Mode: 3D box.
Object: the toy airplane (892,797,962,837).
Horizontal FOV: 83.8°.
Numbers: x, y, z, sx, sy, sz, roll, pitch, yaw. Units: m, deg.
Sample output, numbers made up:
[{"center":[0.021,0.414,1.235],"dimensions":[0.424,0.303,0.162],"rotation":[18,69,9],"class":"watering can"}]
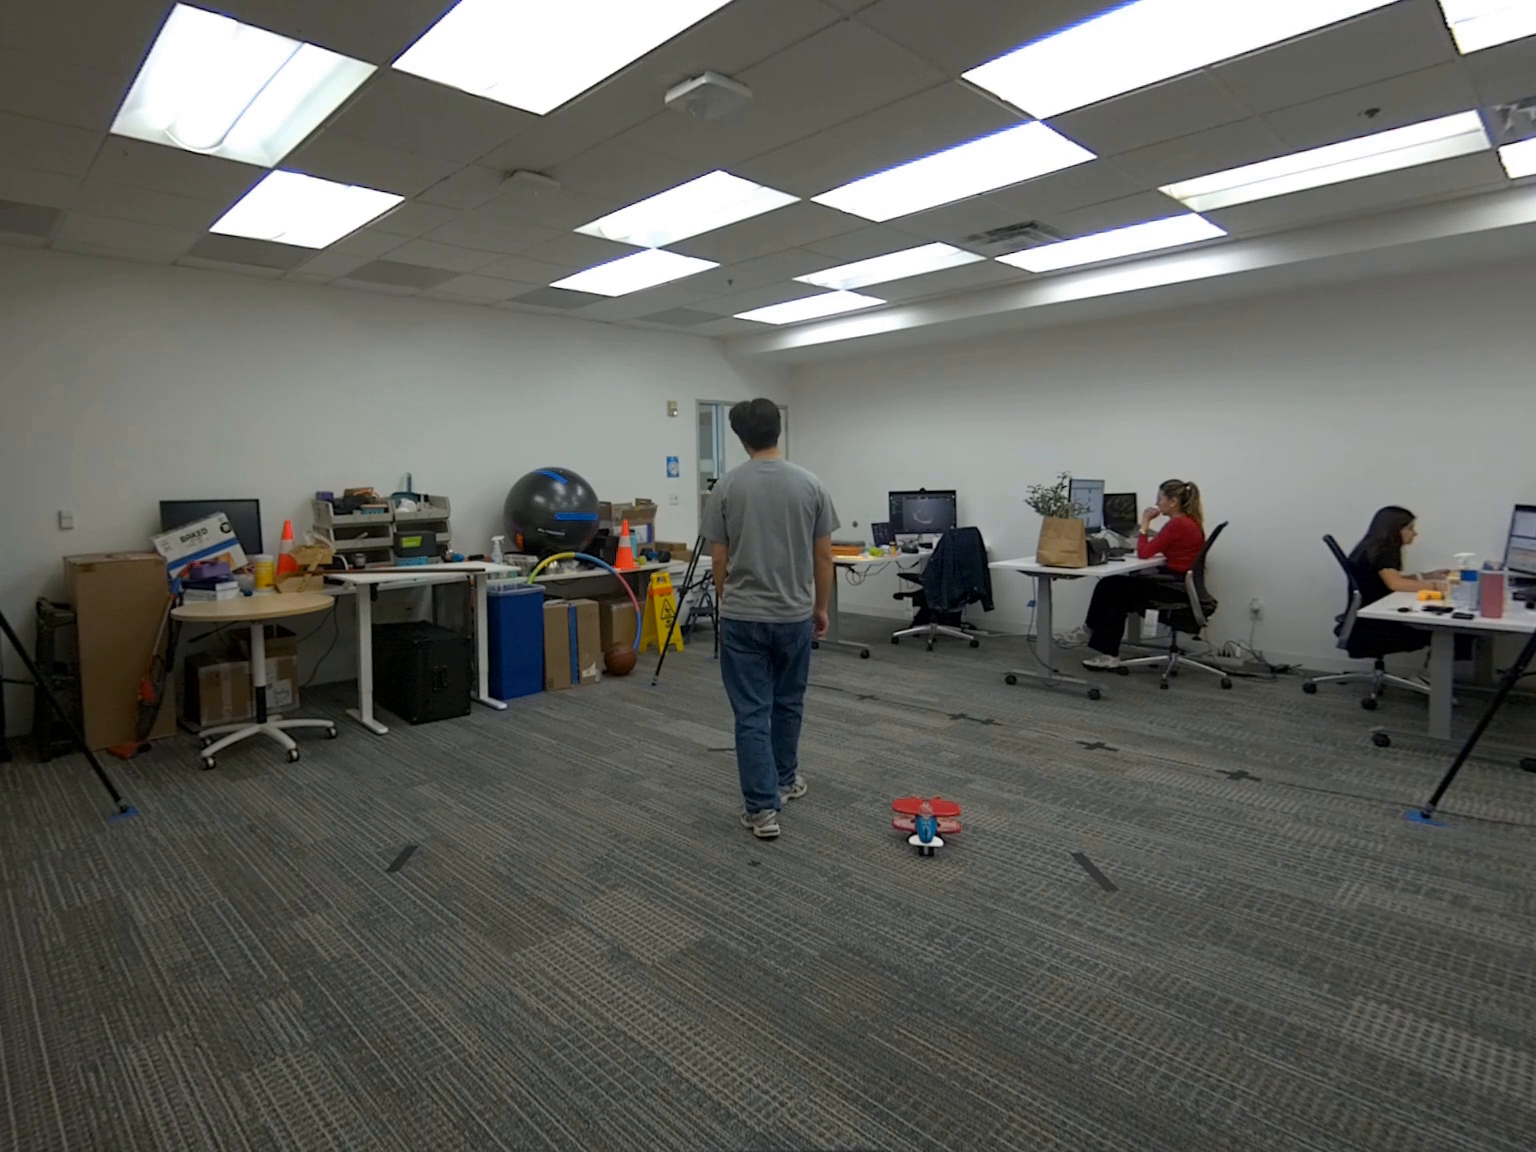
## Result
[{"center":[0.619,0.945,3.232],"dimensions":[0.247,0.156,0.264],"rotation":[-2,5,-17],"class":"toy airplane"}]
